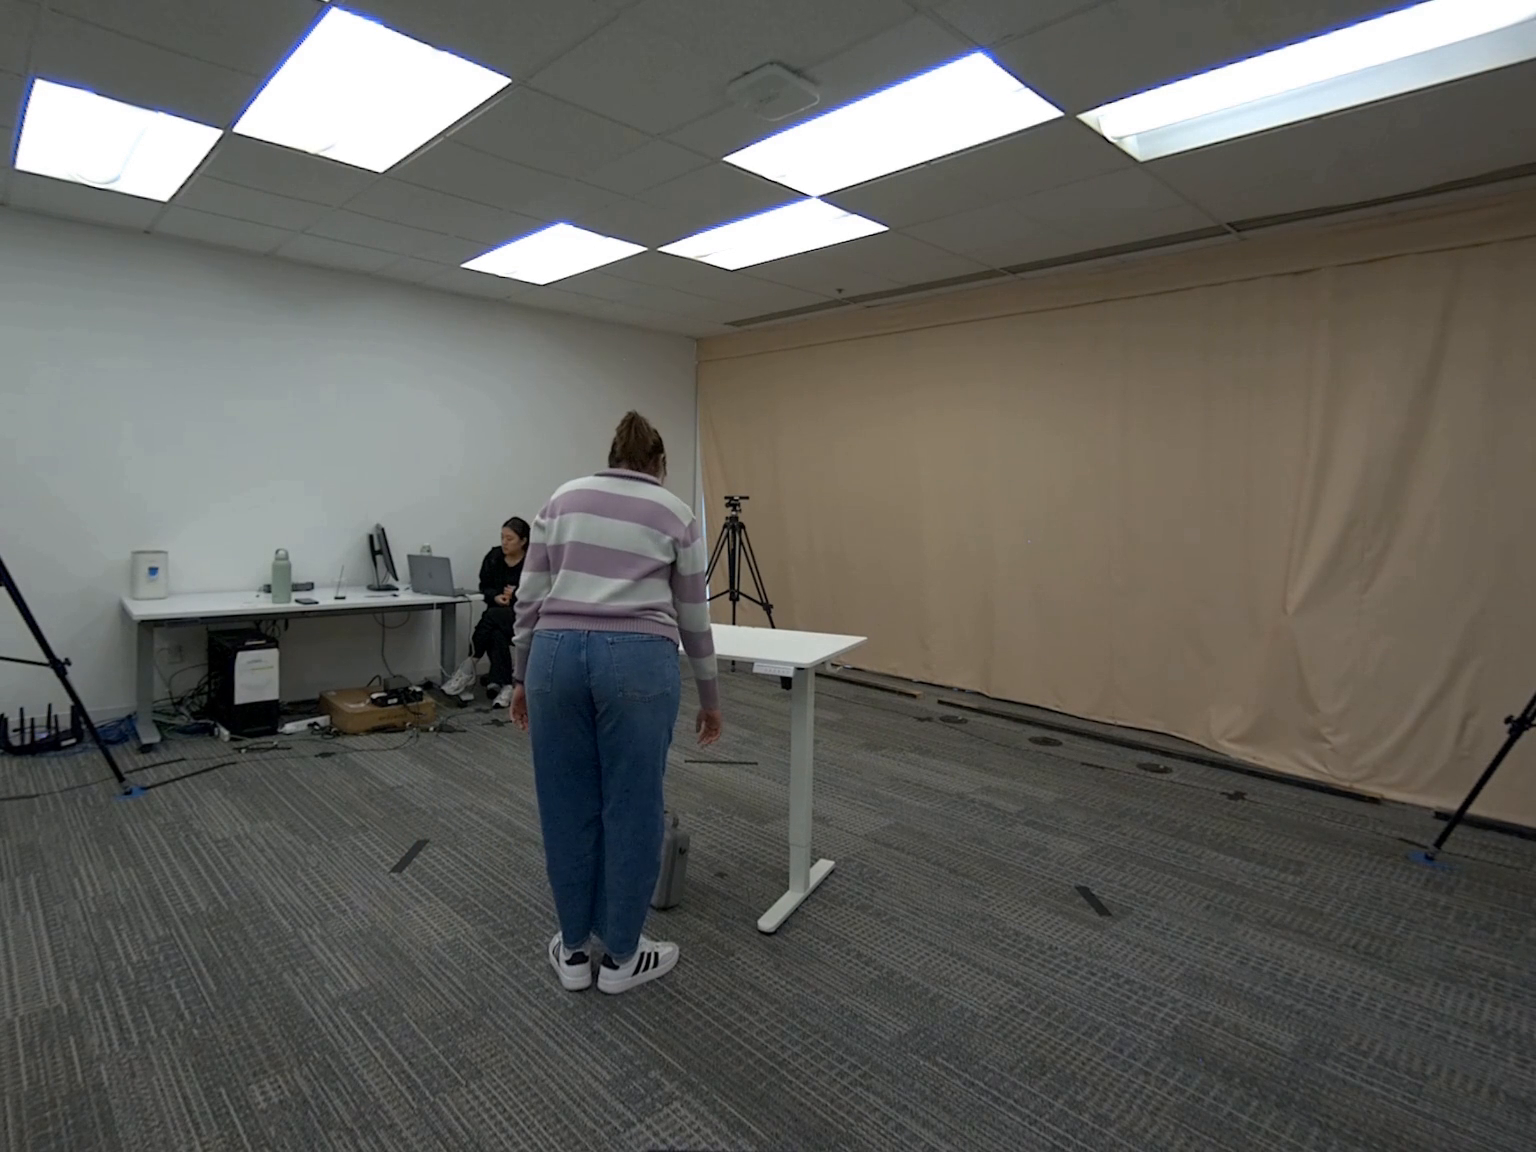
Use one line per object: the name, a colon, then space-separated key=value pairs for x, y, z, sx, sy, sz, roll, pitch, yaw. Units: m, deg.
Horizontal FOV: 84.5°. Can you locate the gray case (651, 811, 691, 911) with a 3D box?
gray case: x=-0.400 y=0.988 z=2.930 sx=0.101 sy=0.261 sz=0.263 roll=9 pitch=-2 yaw=-38
